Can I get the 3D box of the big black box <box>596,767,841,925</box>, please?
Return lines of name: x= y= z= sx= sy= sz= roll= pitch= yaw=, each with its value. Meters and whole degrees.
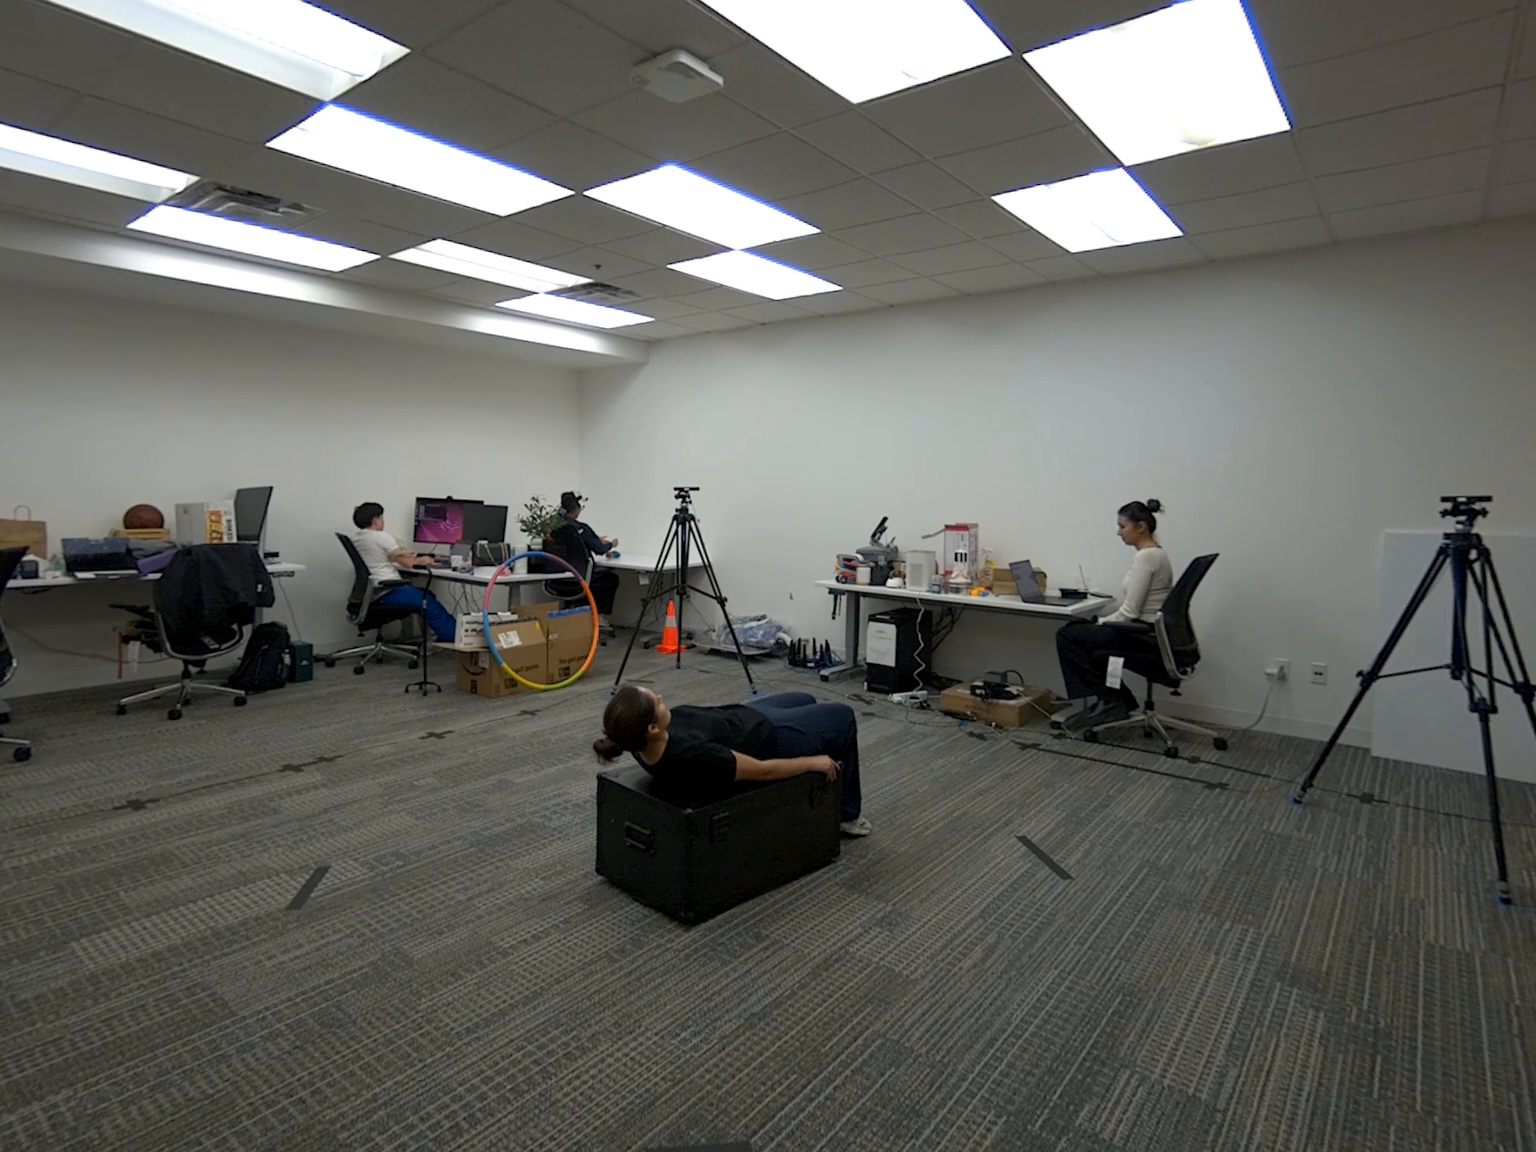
big black box: x=-0.177 y=0.886 z=3.081 sx=0.835 sy=0.395 sz=0.539 roll=-2 pitch=5 yaw=-45
